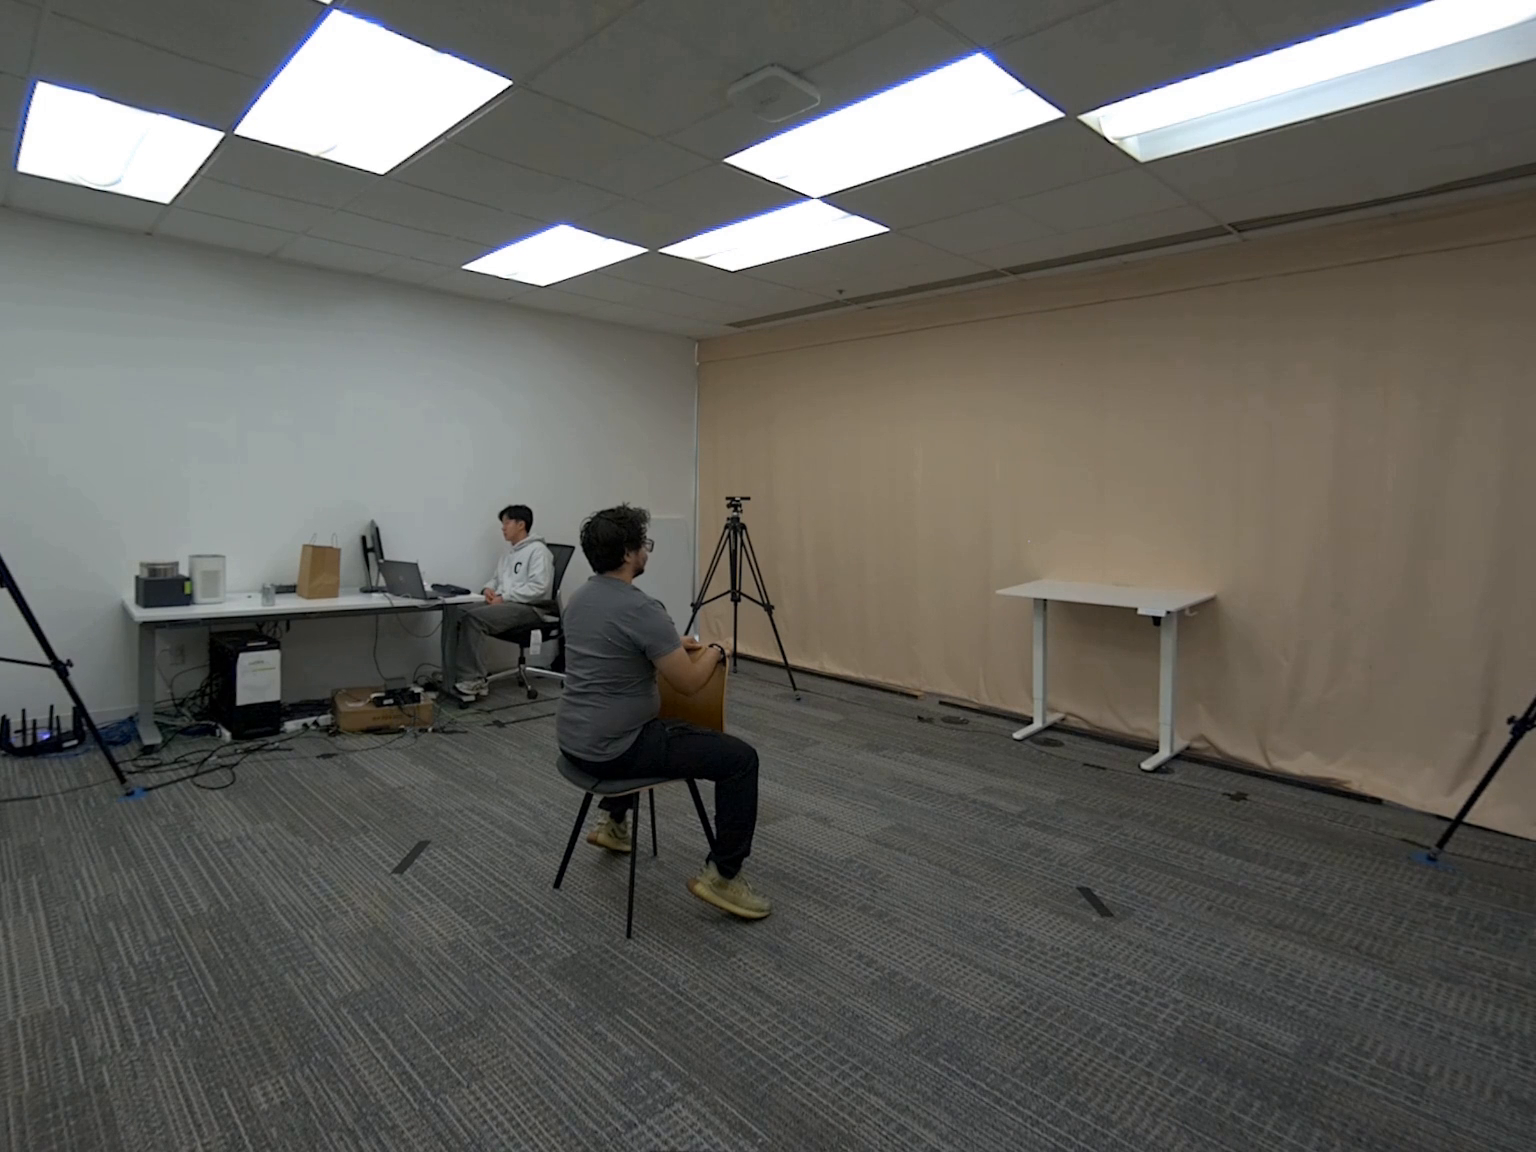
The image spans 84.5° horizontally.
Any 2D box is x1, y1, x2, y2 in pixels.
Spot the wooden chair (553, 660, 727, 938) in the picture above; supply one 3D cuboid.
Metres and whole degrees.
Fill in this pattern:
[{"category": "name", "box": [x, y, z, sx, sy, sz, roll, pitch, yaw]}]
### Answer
[{"category": "wooden chair", "box": [-0.440, 0.691, 2.925, 0.510, 0.877, 0.490, 4, 1, -43]}]
